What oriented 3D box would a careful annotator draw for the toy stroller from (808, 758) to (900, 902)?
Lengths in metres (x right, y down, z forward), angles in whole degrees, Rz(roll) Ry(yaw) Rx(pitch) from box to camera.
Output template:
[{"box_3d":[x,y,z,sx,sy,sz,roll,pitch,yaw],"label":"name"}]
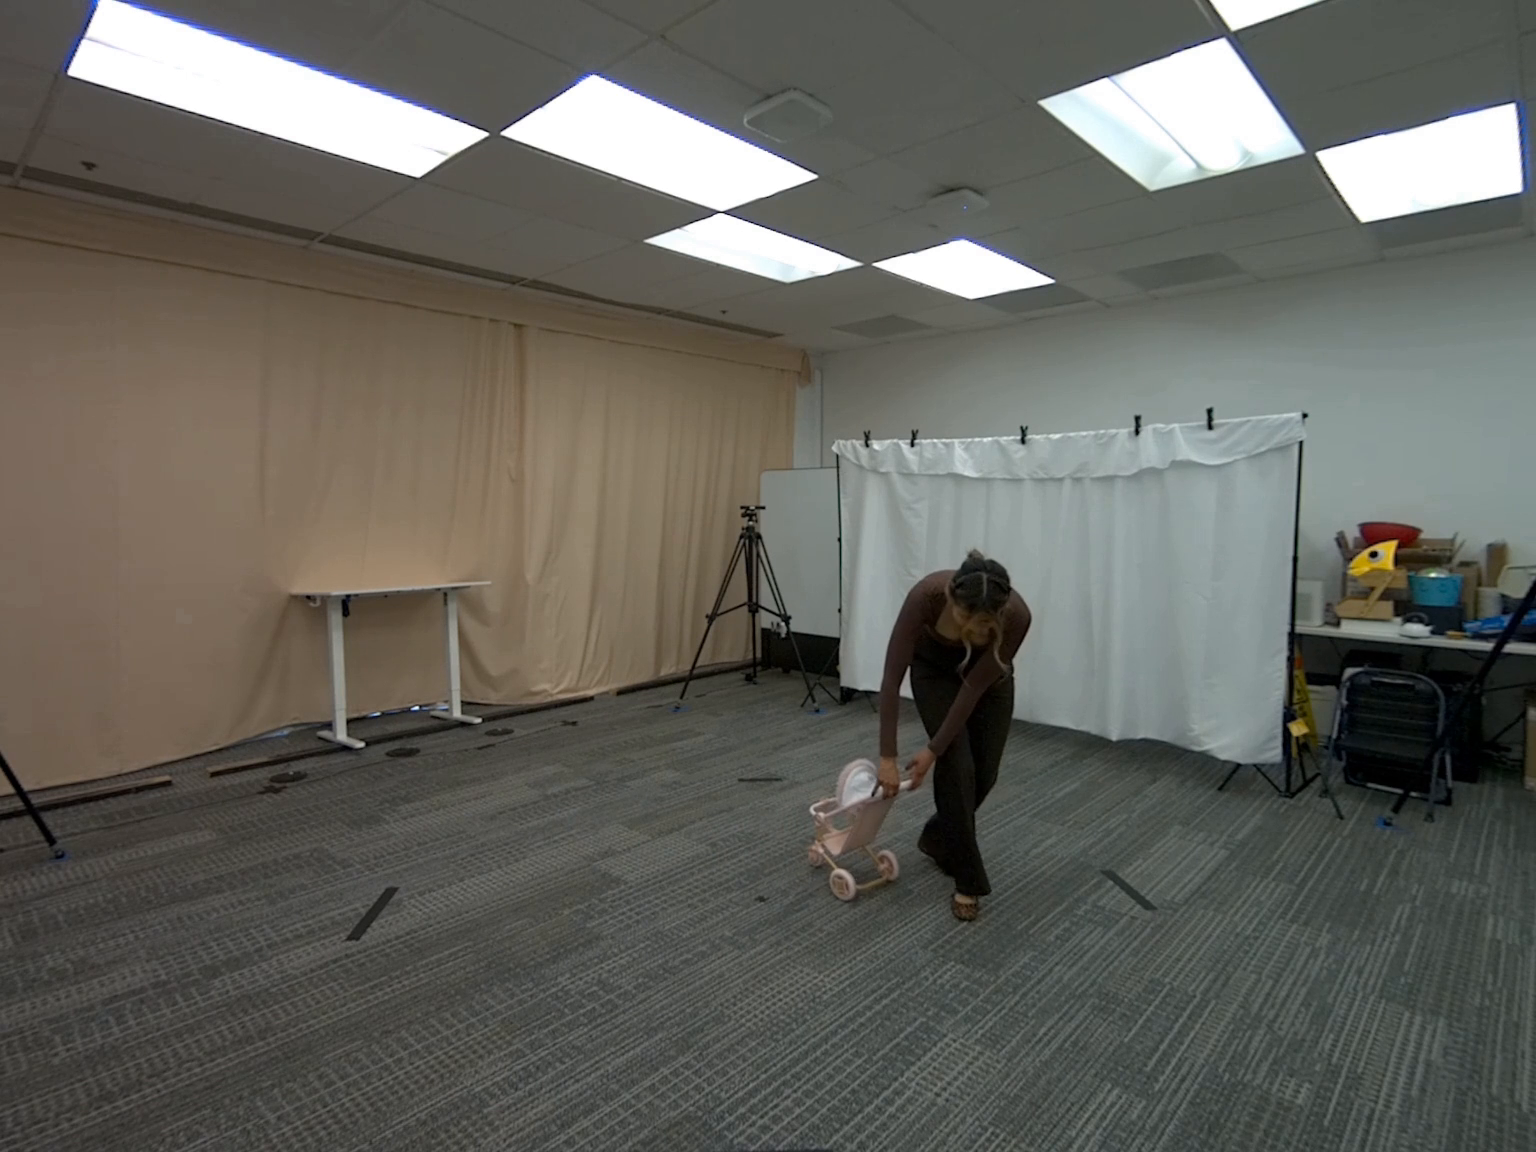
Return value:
[{"box_3d":[0.321,0.910,3.090,0.273,0.531,0.354,-2,20,-37],"label":"toy stroller"}]
